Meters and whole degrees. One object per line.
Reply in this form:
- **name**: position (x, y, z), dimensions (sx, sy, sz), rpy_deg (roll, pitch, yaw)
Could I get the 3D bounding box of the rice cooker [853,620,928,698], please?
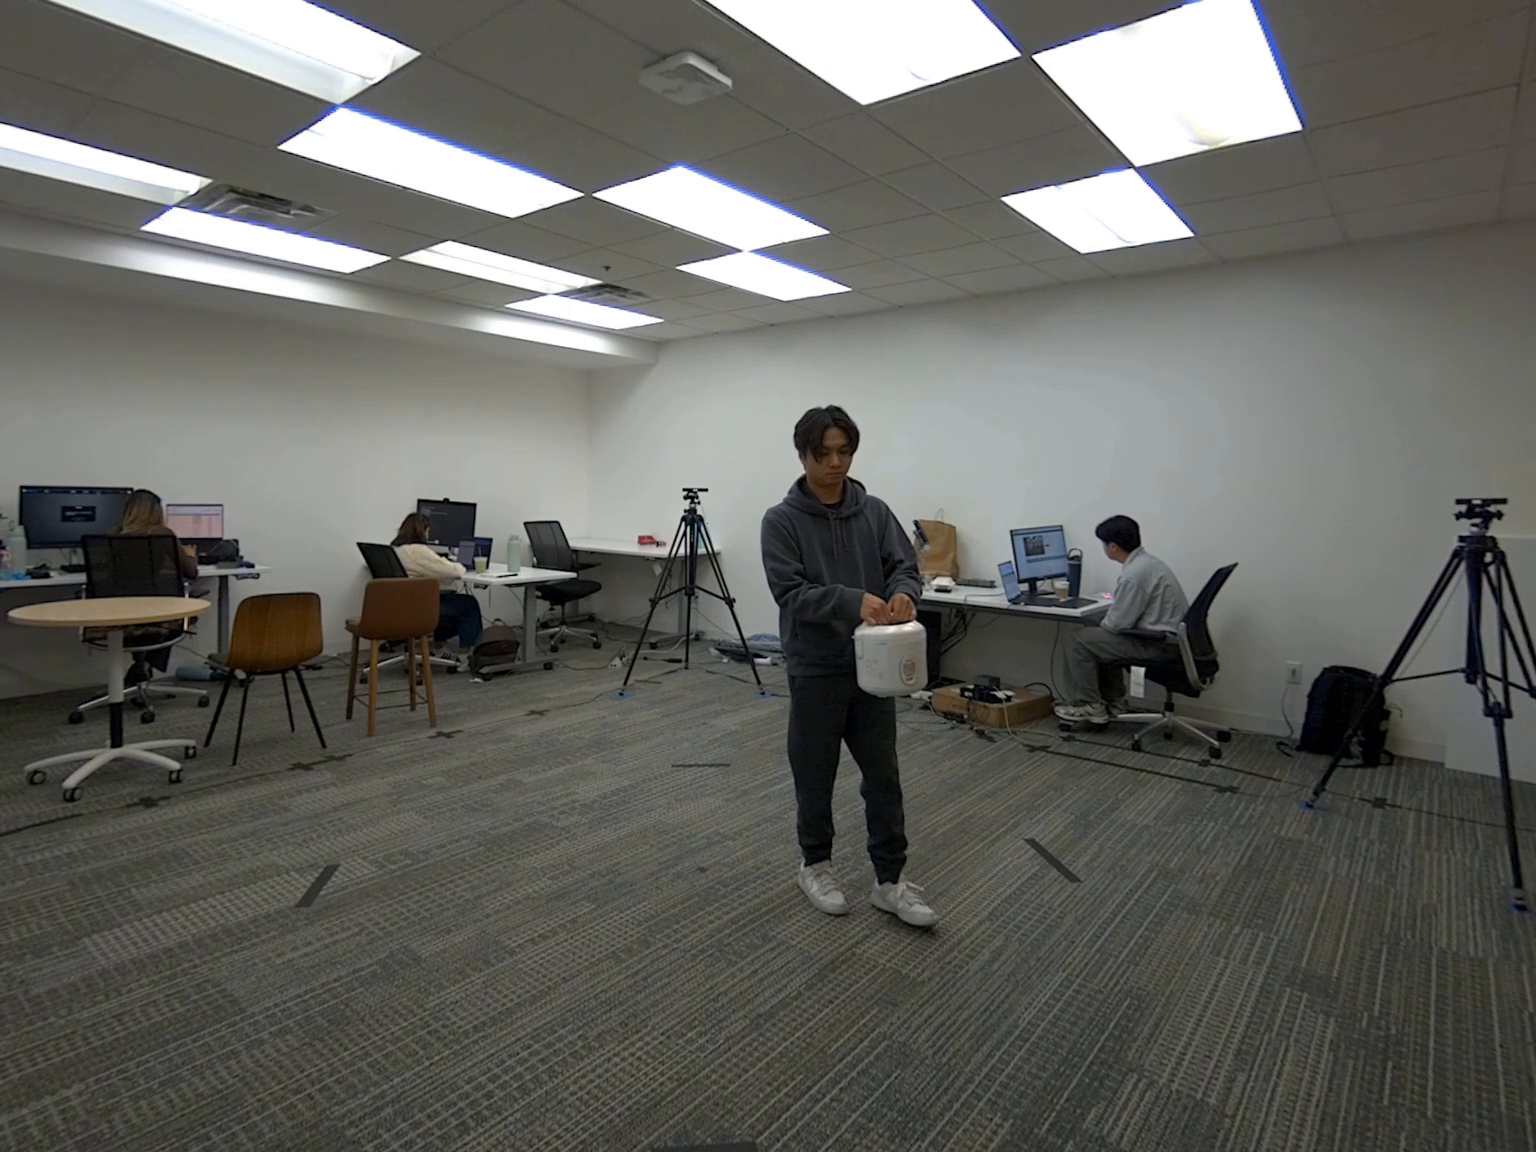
- **rice cooker**: position (0.362, 0.226, 2.531), dimensions (0.217, 0.232, 0.222), rpy_deg (-5, 3, -19)
